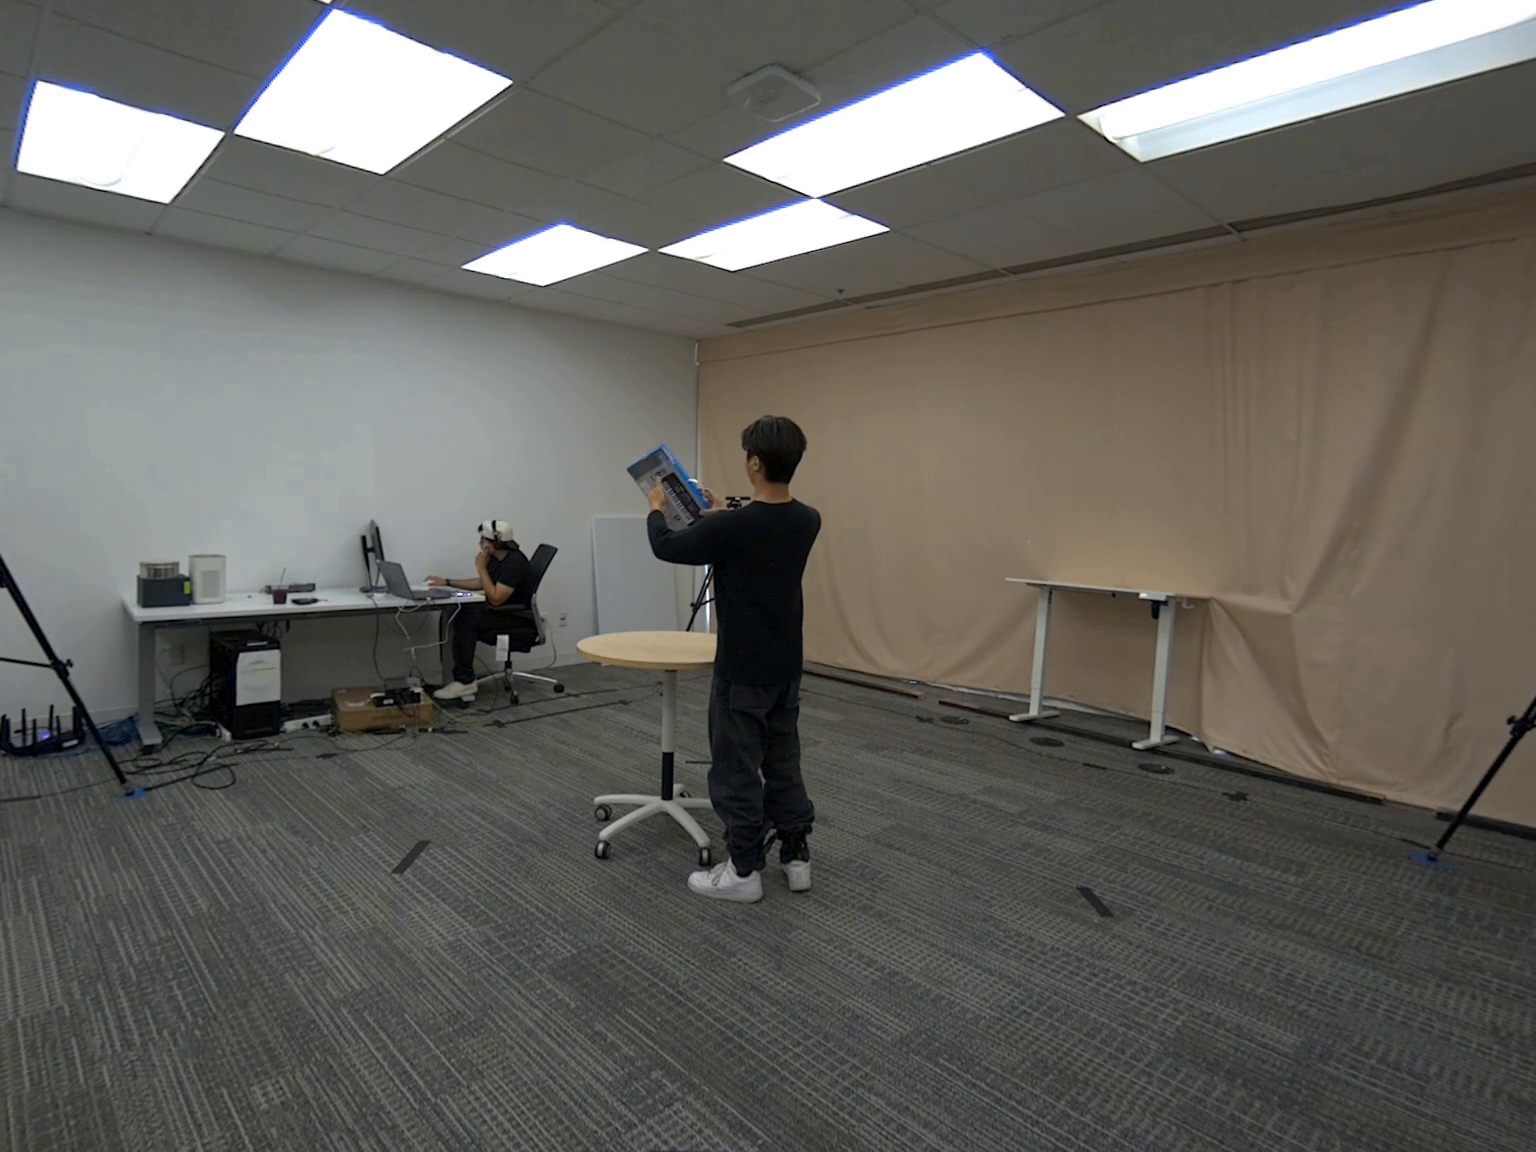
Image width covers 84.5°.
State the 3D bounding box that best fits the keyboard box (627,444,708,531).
[{"bbox_3d":[-0.360,-0.295,3.303,0.177,0.428,0.060,-30,20,19],"label":"keyboard box"}]
